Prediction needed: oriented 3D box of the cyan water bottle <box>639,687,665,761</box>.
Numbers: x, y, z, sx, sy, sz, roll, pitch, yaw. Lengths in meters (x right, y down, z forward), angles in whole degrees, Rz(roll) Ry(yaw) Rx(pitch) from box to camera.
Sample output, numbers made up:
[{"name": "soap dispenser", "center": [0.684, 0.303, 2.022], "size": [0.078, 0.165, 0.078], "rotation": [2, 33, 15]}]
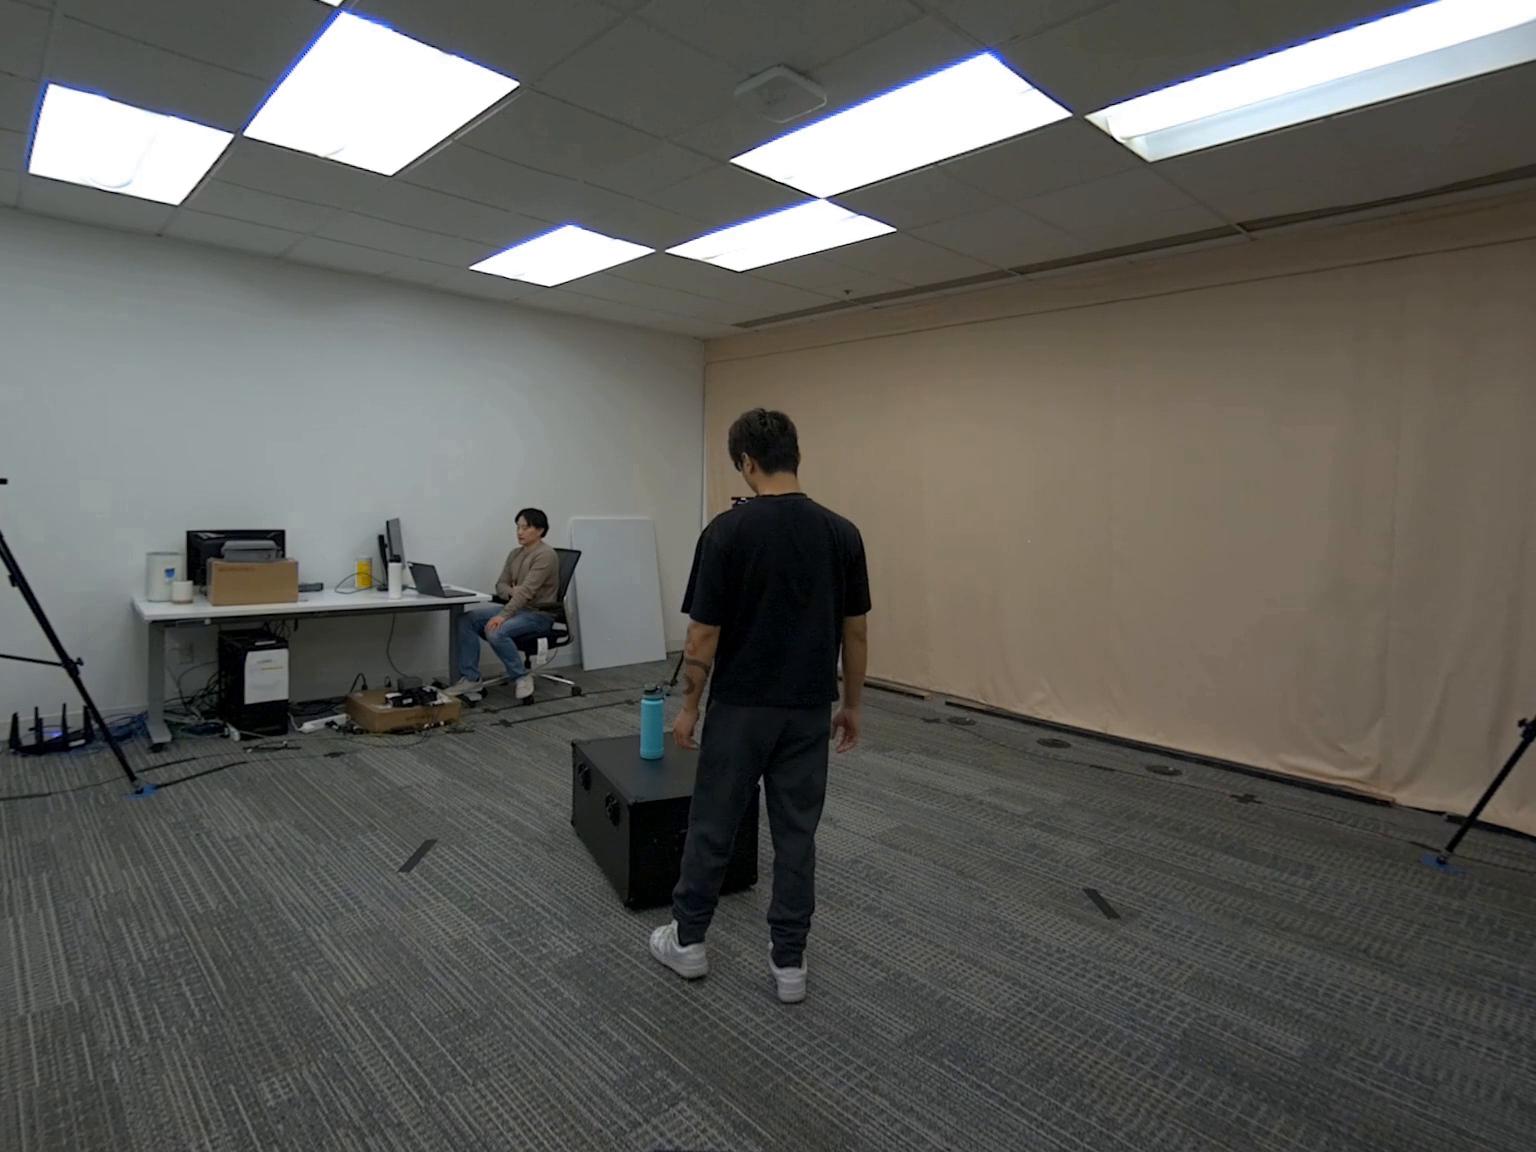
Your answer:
[{"name": "cyan water bottle", "center": [-0.461, 0.569, 3.305], "size": [0.092, 0.283, 0.092], "rotation": [2, 2, -1]}]
